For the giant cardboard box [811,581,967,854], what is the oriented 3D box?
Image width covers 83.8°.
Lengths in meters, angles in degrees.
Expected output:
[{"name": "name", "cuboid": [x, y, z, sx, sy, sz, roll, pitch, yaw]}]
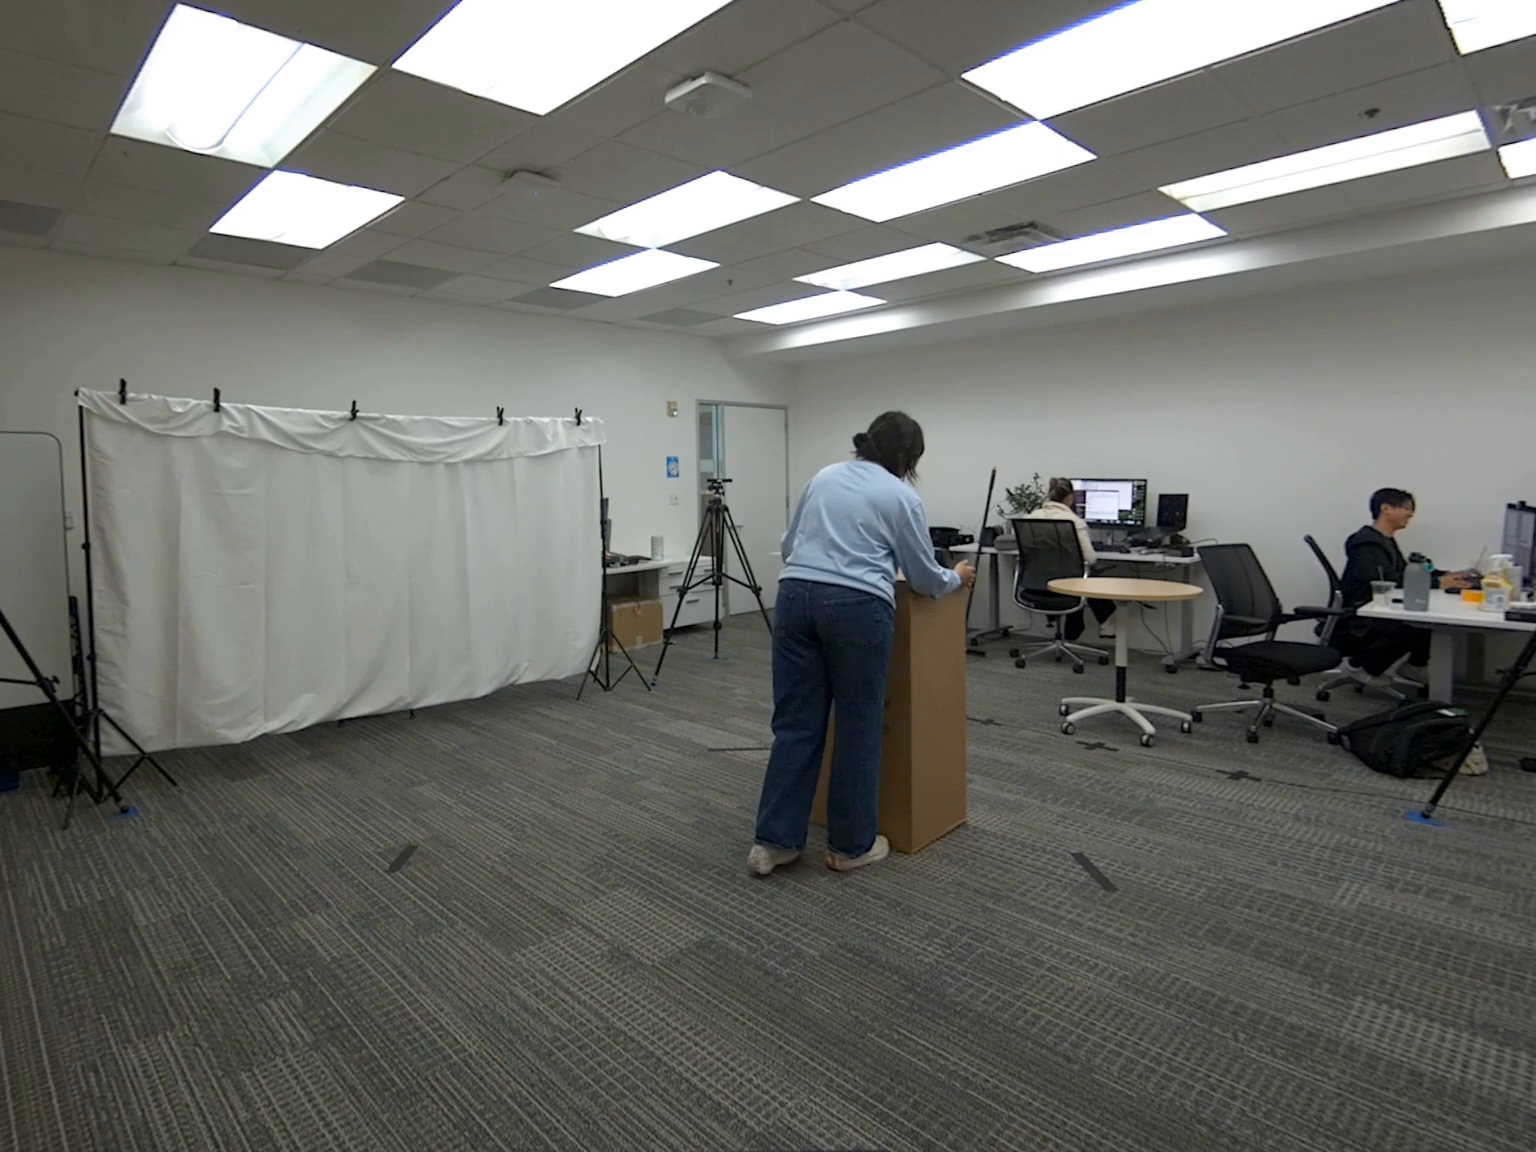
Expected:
[{"name": "giant cardboard box", "cuboid": [0.447, 0.487, 3.476, 0.602, 1.024, 0.435, 3, 5, 43]}]
